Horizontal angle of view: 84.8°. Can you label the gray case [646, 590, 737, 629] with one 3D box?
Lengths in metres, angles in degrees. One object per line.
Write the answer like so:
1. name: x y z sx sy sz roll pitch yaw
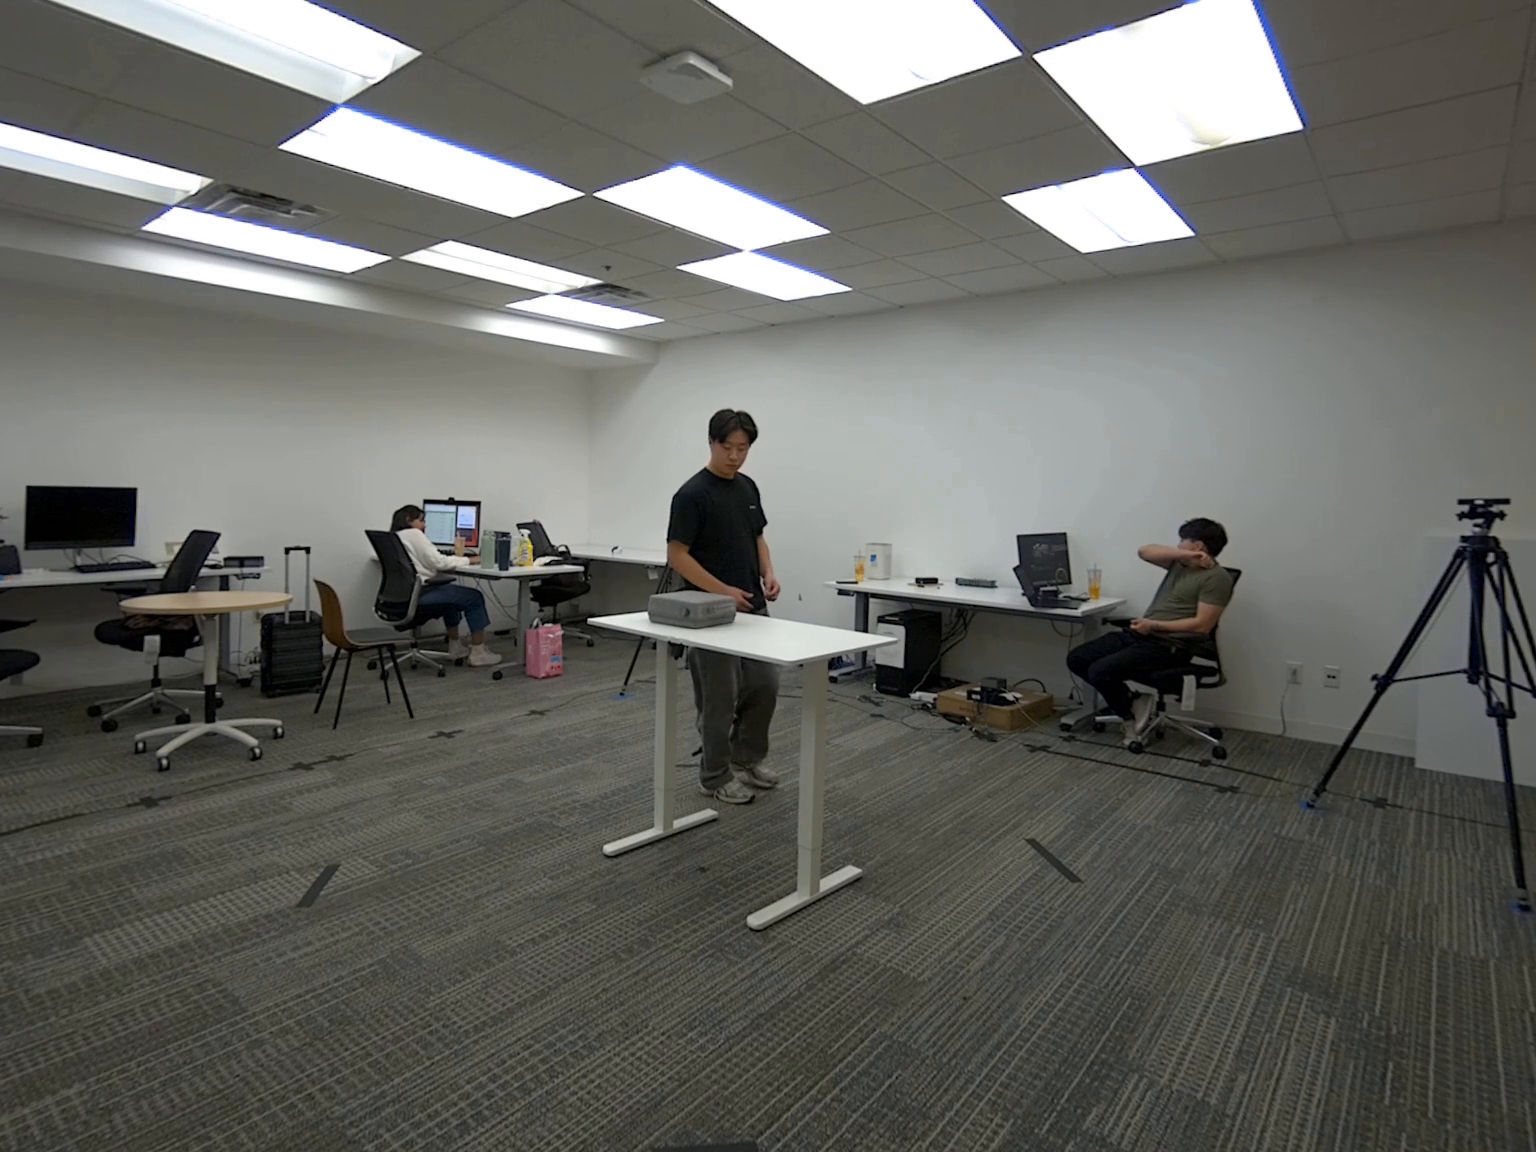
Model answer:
1. gray case: -0.284 0.121 3.207 0.297 0.102 0.255 6 7 38
